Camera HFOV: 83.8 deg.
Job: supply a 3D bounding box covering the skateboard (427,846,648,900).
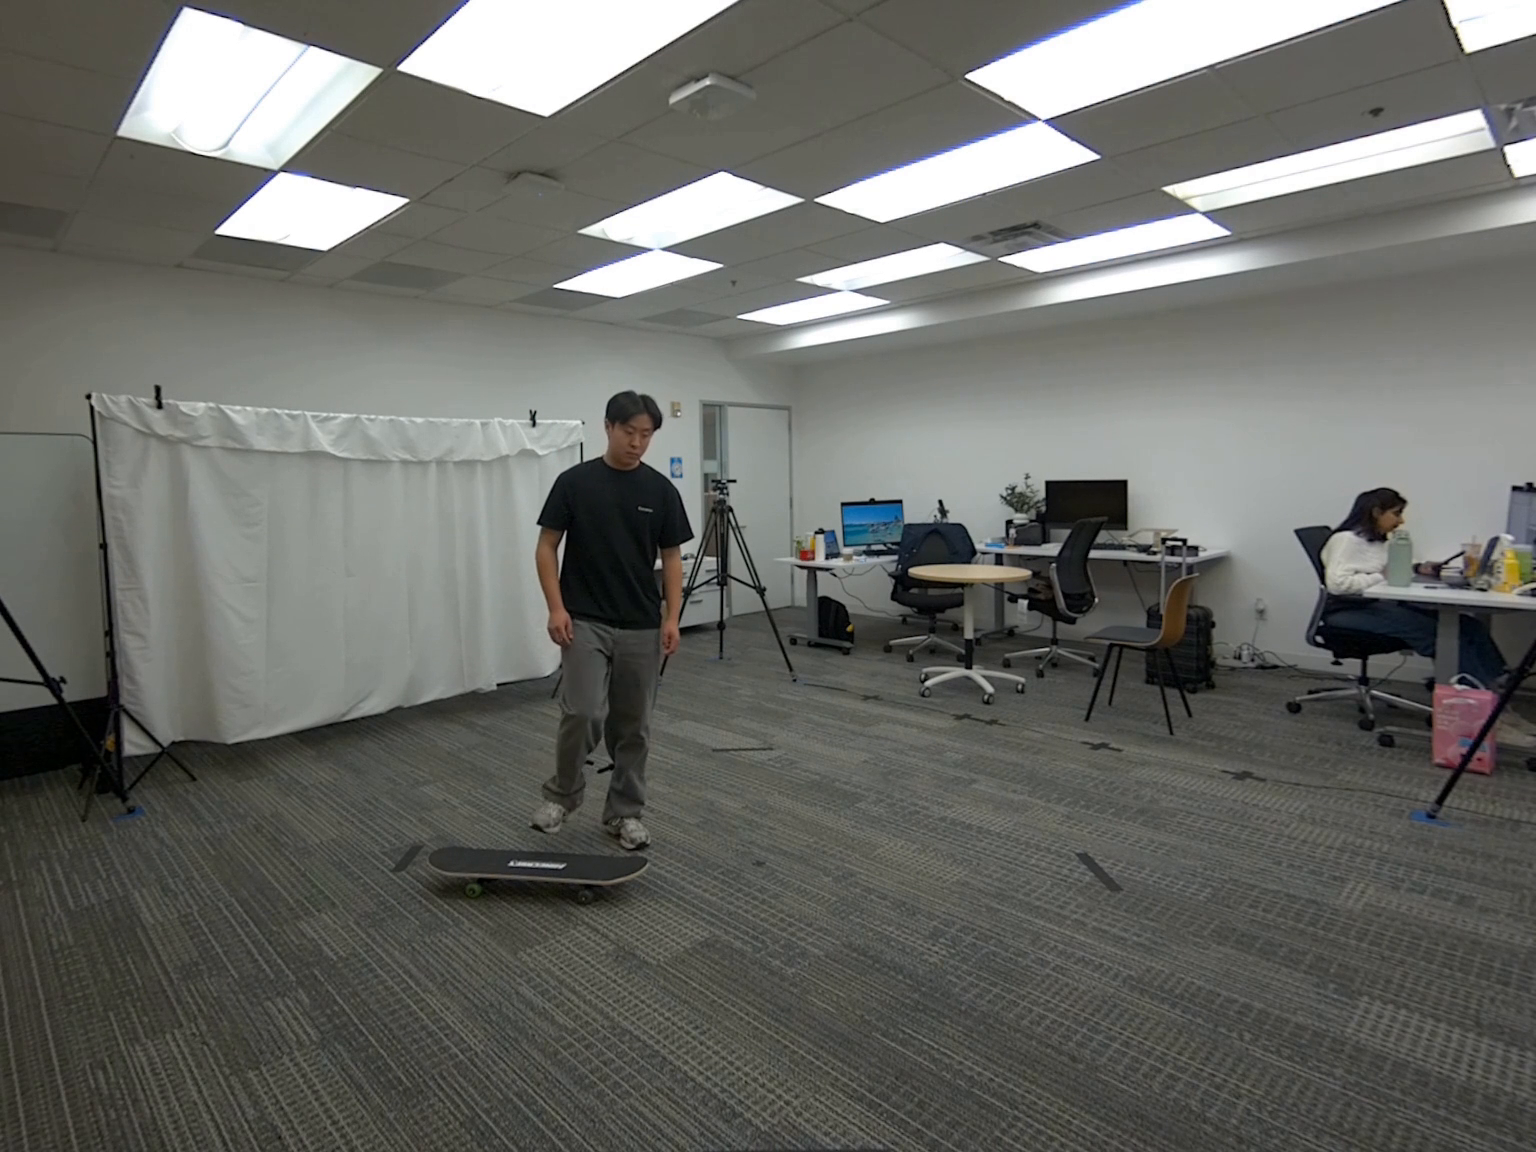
[{"bbox_3d":[-0.787,1.023,2.943,0.793,0.110,0.193,0,7,10],"label":"skateboard"}]
